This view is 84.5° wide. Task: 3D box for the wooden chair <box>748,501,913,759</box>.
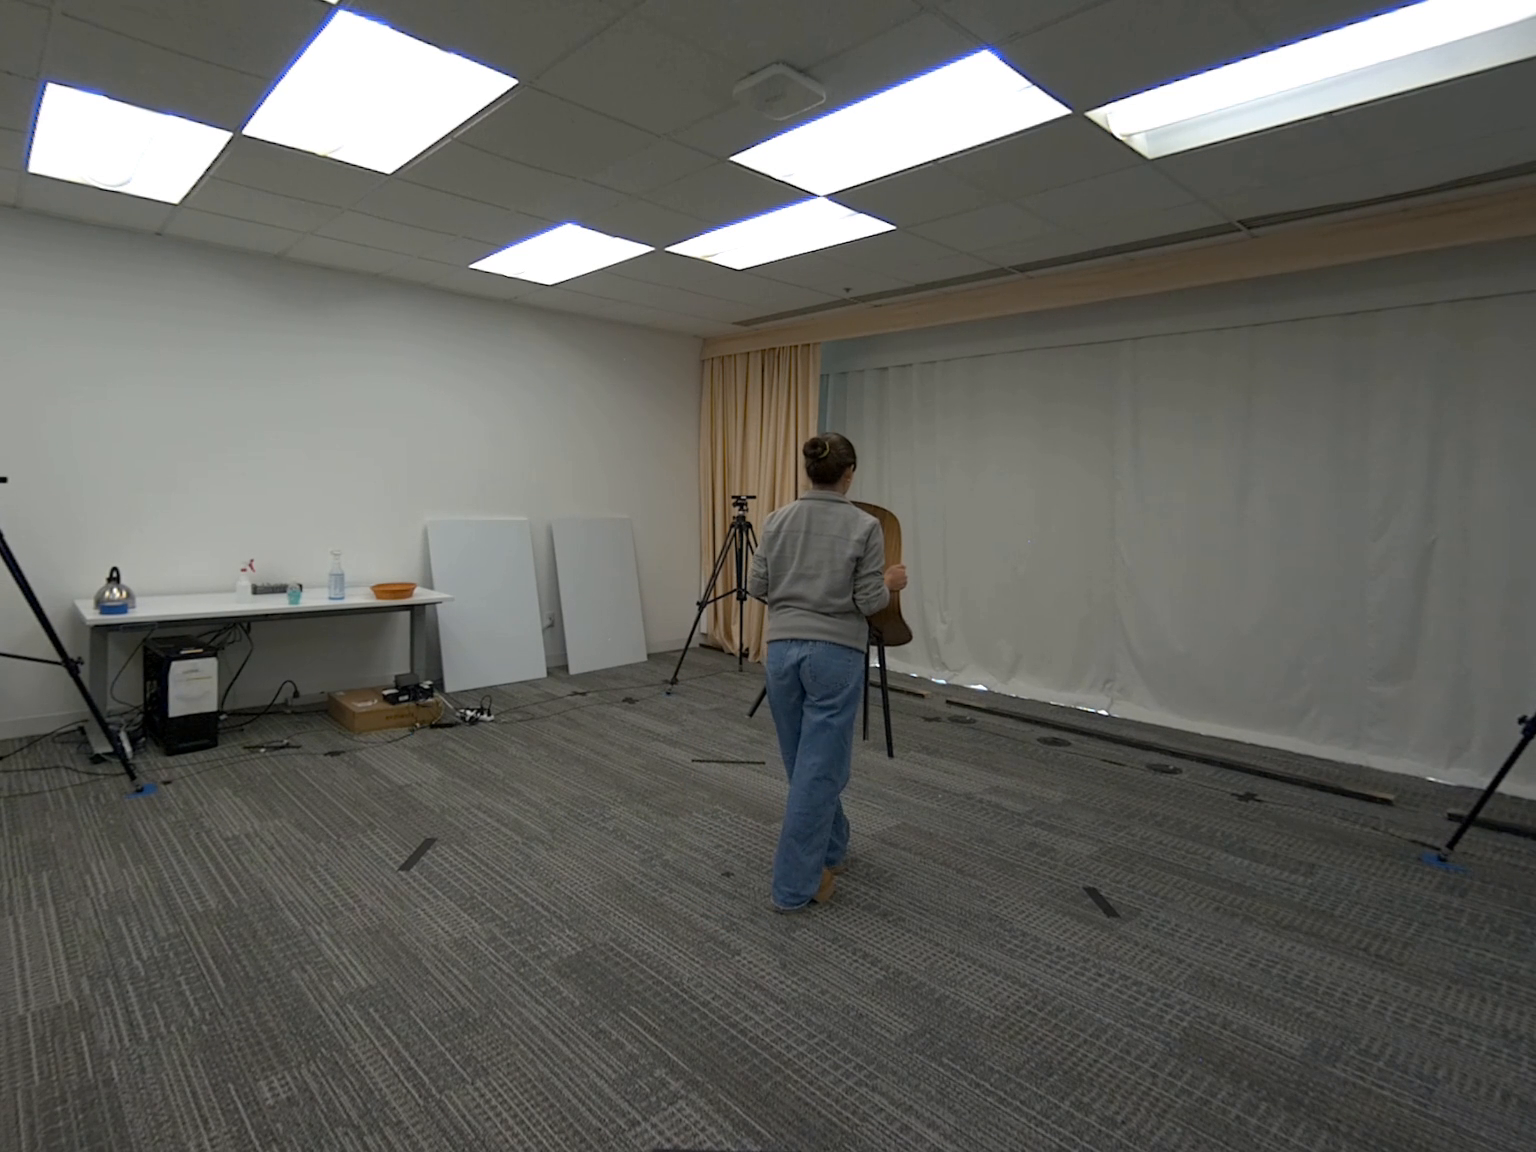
[{"bbox_3d":[0.298,0.206,3.248,0.487,0.883,0.509,6,-13,23],"label":"wooden chair"}]
